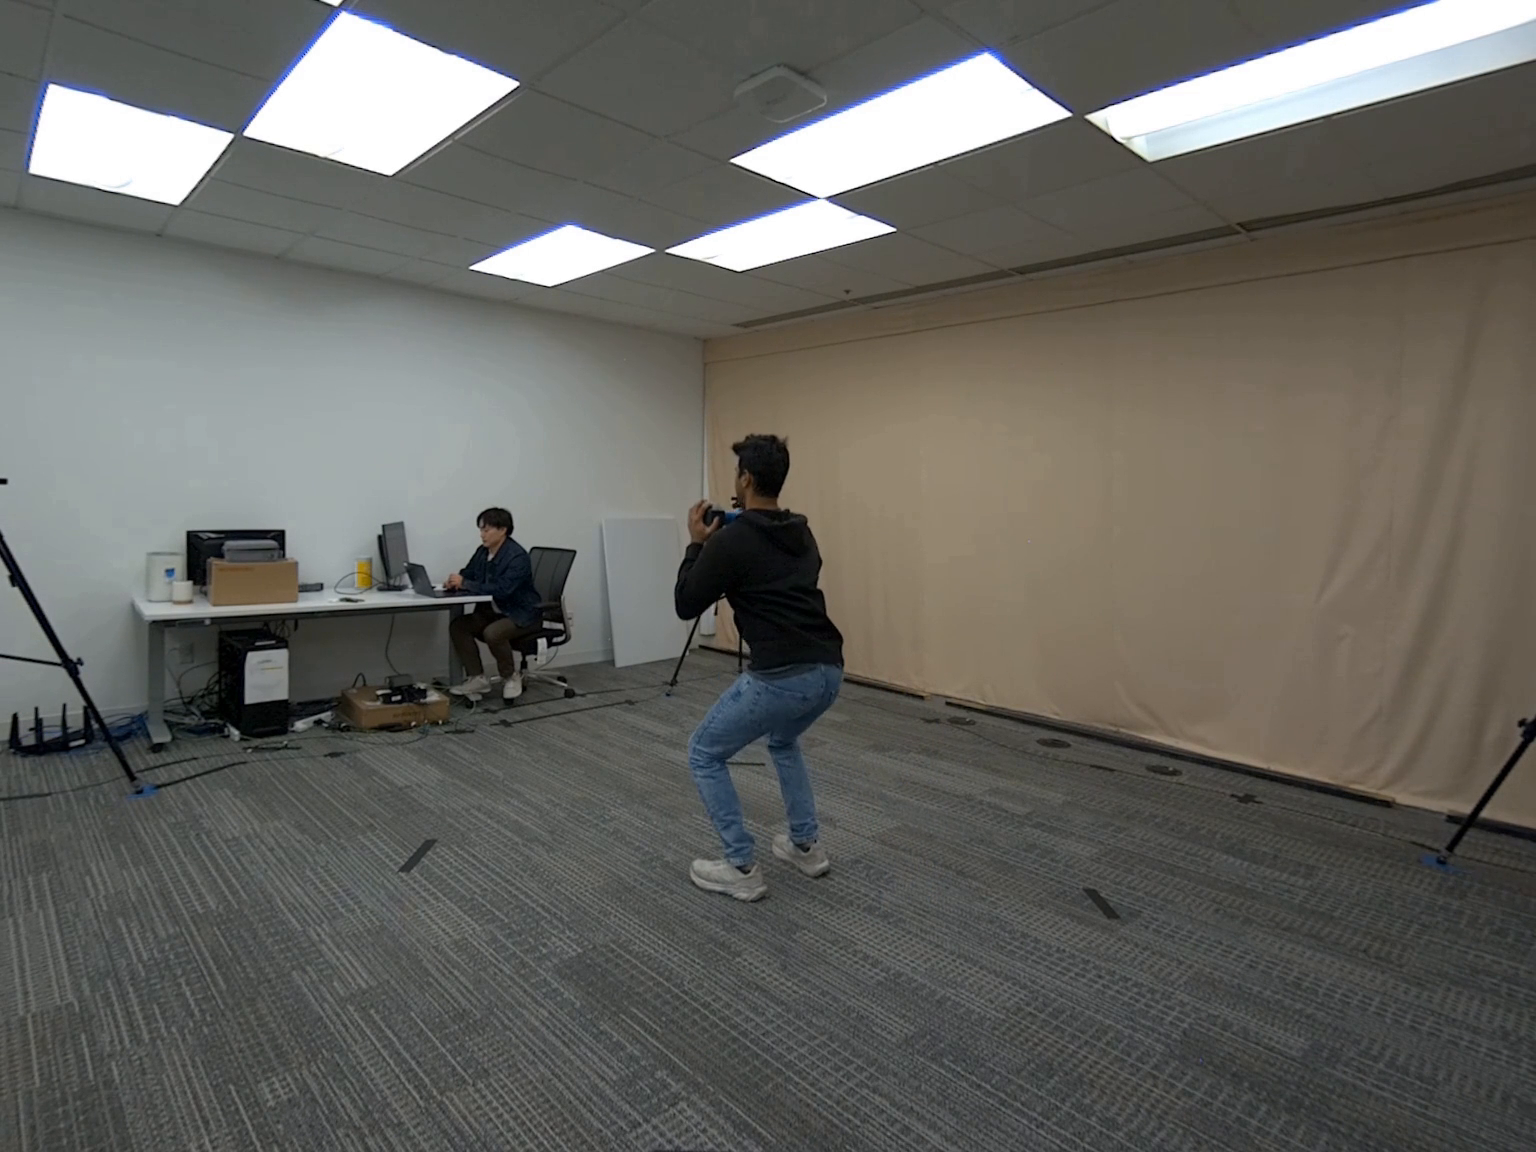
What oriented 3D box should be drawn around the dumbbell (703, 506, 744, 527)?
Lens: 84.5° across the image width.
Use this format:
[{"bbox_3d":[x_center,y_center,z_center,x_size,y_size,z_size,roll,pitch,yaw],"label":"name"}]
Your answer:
[{"bbox_3d":[-0.136,-0.213,3.199,0.287,0.122,0.112,-3,10,-40],"label":"dumbbell"}]
